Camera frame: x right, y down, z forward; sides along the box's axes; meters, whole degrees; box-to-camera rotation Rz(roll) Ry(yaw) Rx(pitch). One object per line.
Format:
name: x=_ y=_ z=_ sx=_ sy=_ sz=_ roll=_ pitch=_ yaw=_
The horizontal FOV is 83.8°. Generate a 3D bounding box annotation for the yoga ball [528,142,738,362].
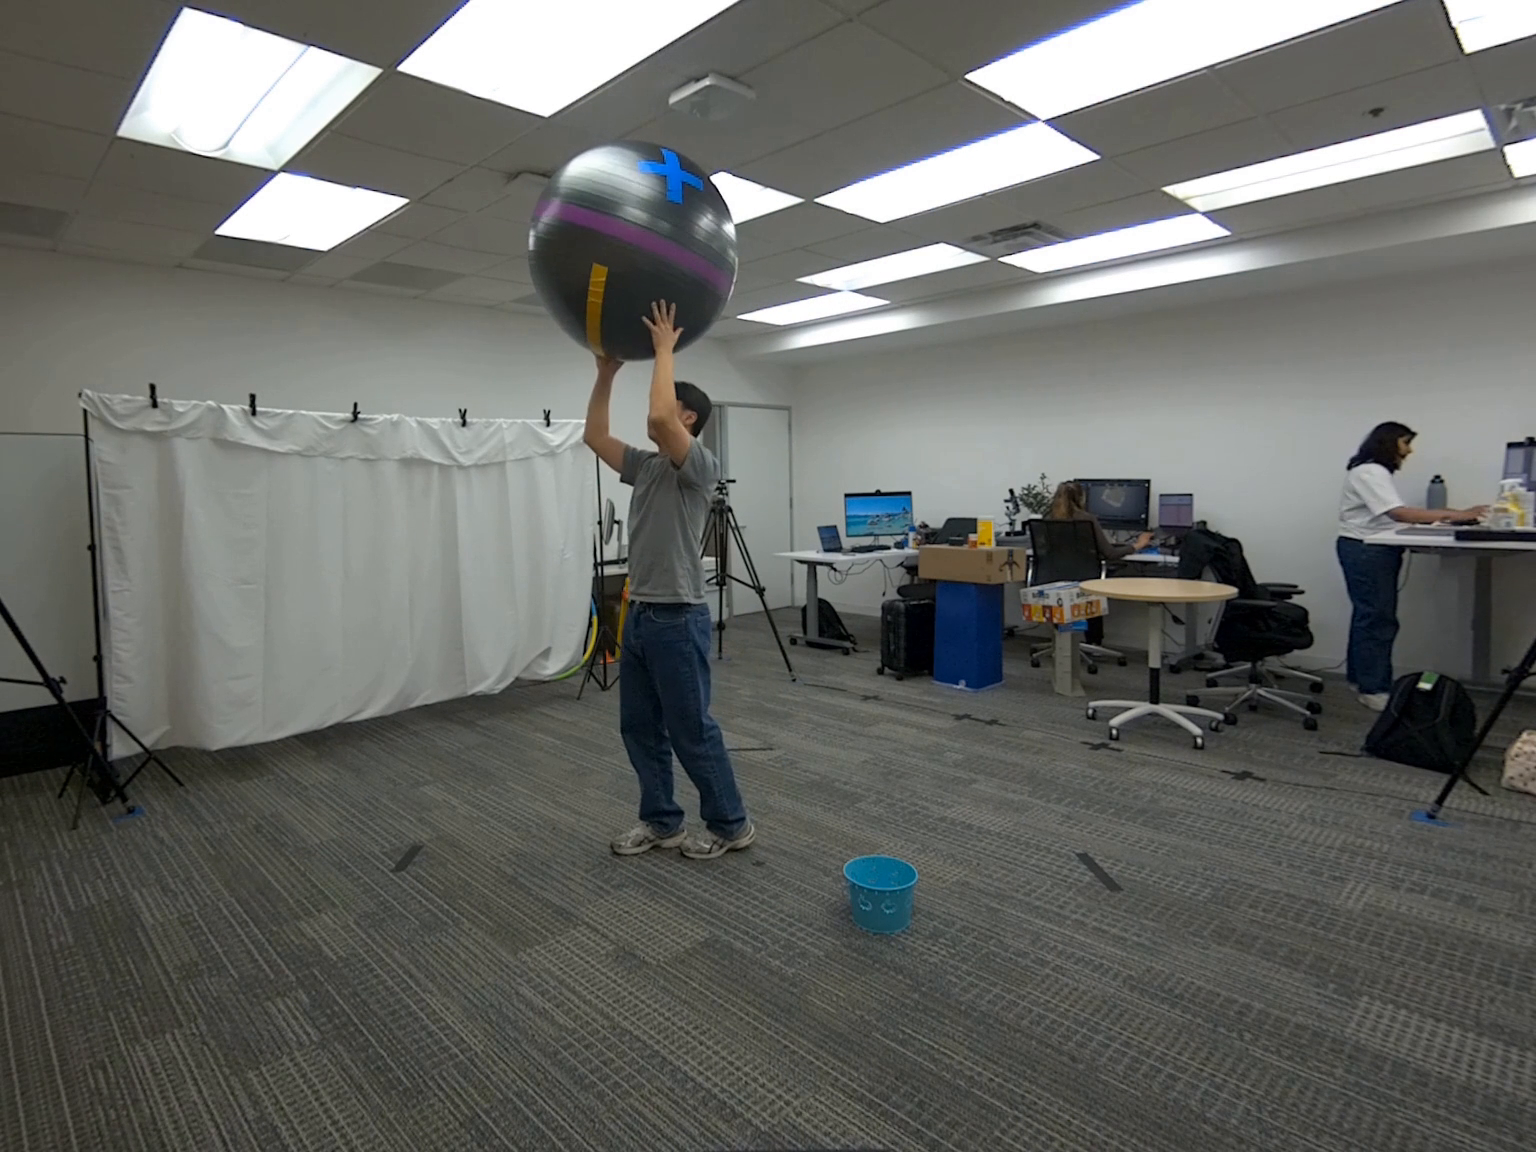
yoga ball: x=-0.492 y=-1.167 z=3.103 sx=0.757 sy=0.755 sz=0.762 roll=-1 pitch=5 yaw=-2
